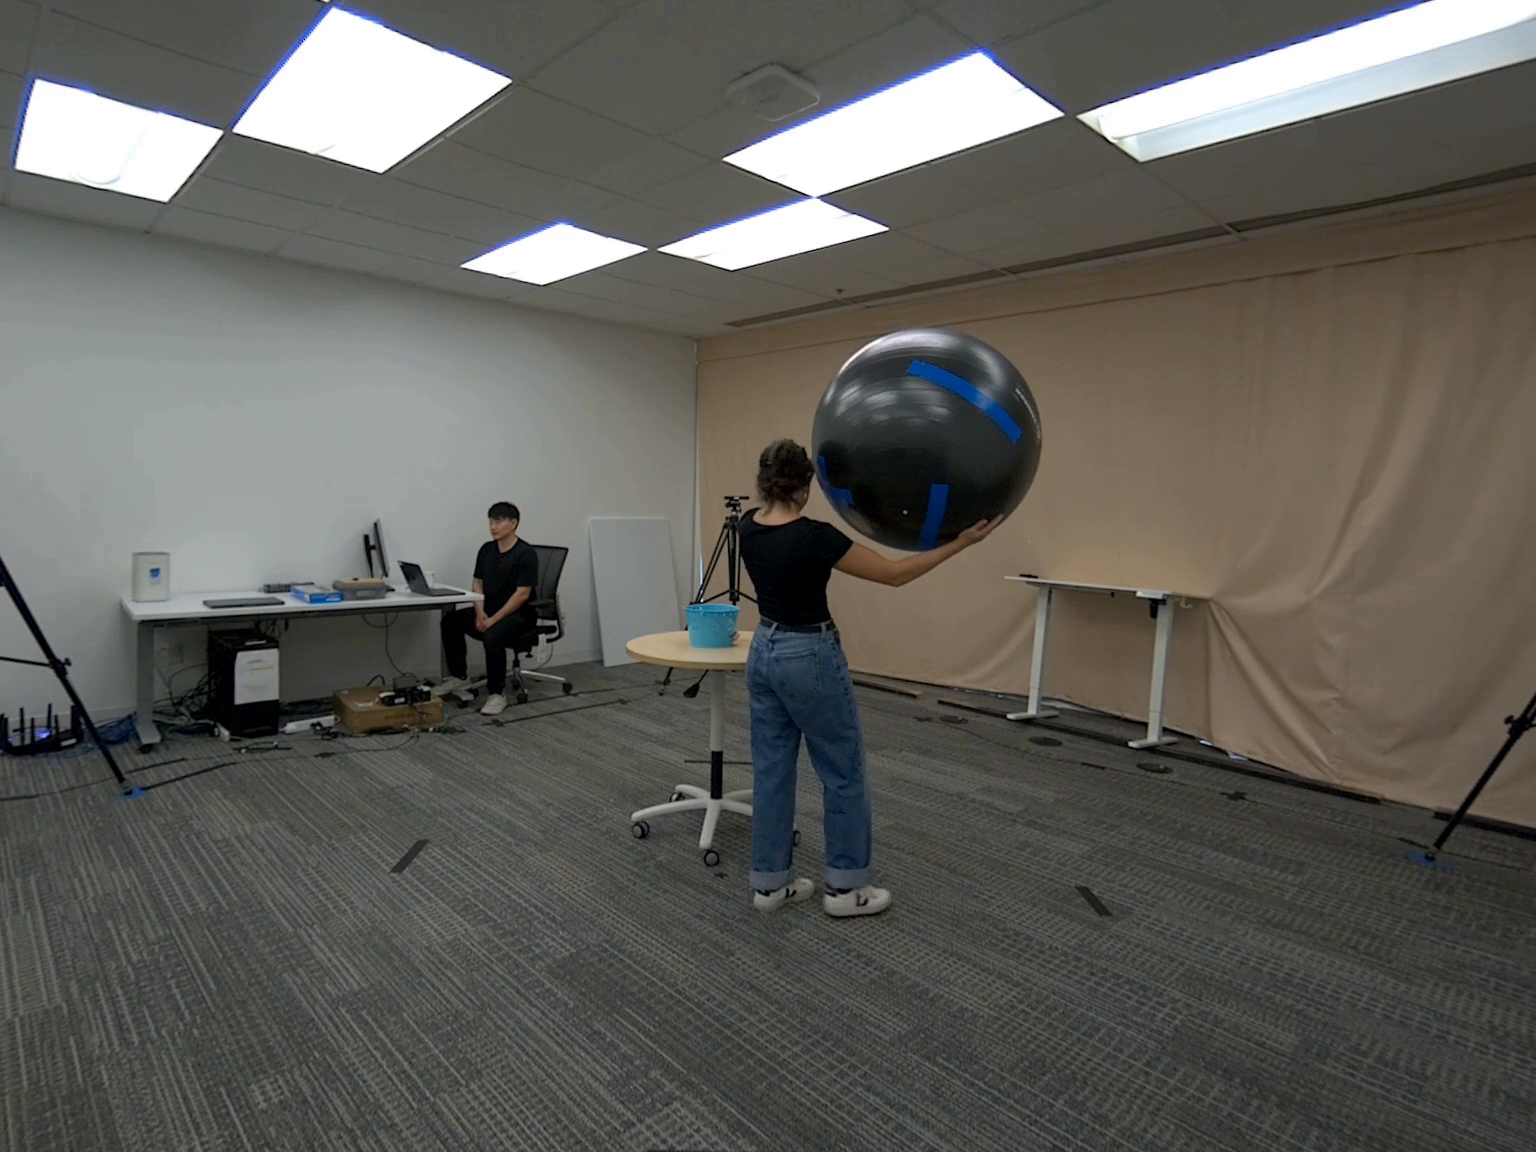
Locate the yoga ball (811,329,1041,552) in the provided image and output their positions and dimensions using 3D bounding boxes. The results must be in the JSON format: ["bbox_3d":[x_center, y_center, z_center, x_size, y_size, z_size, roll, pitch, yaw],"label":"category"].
[{"bbox_3d":[0.533,-0.450,2.876,0.757,0.756,0.761,1,4,-1],"label":"yoga ball"}]
